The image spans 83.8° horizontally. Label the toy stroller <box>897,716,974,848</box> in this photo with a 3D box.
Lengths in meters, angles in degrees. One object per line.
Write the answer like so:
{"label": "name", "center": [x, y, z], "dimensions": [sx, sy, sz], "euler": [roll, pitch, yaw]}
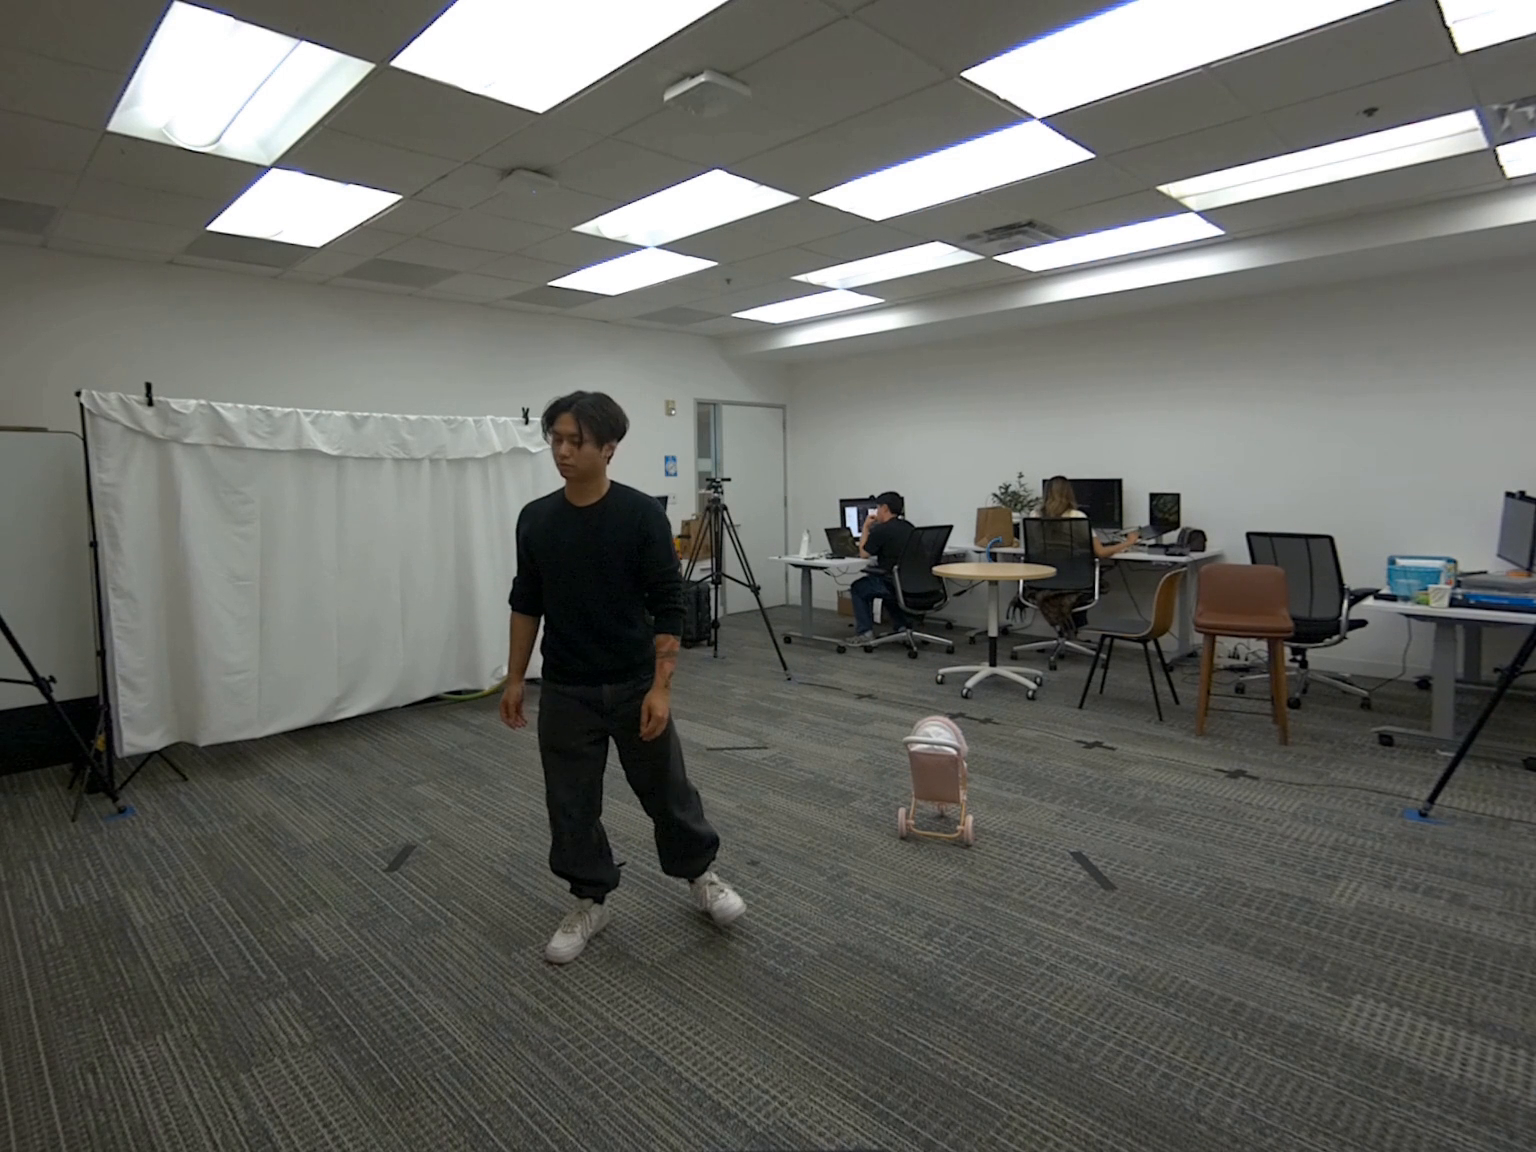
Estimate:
{"label": "toy stroller", "center": [0.662, 0.780, 3.320], "dimensions": [0.288, 0.526, 0.340], "euler": [1, 19, 23]}
